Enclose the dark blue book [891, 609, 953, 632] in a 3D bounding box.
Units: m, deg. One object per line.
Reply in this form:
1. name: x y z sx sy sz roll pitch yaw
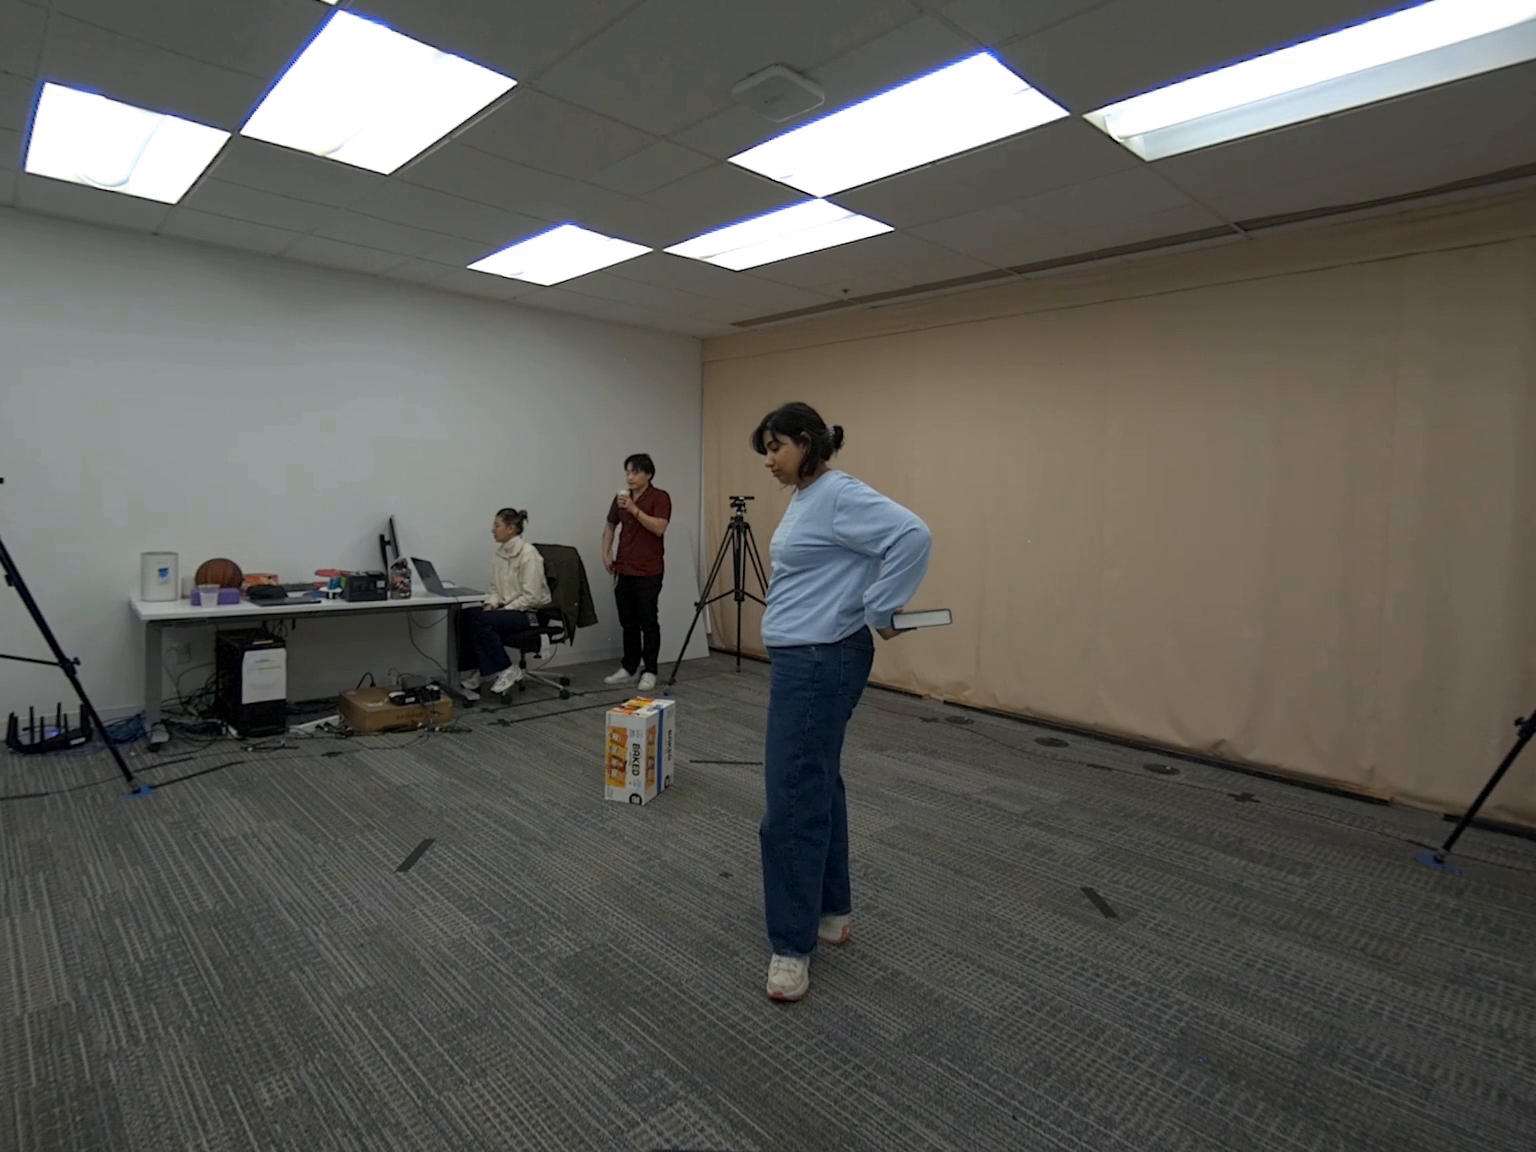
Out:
1. dark blue book: 0.421 0.126 2.423 0.164 0.045 0.243 -6 -2 6
